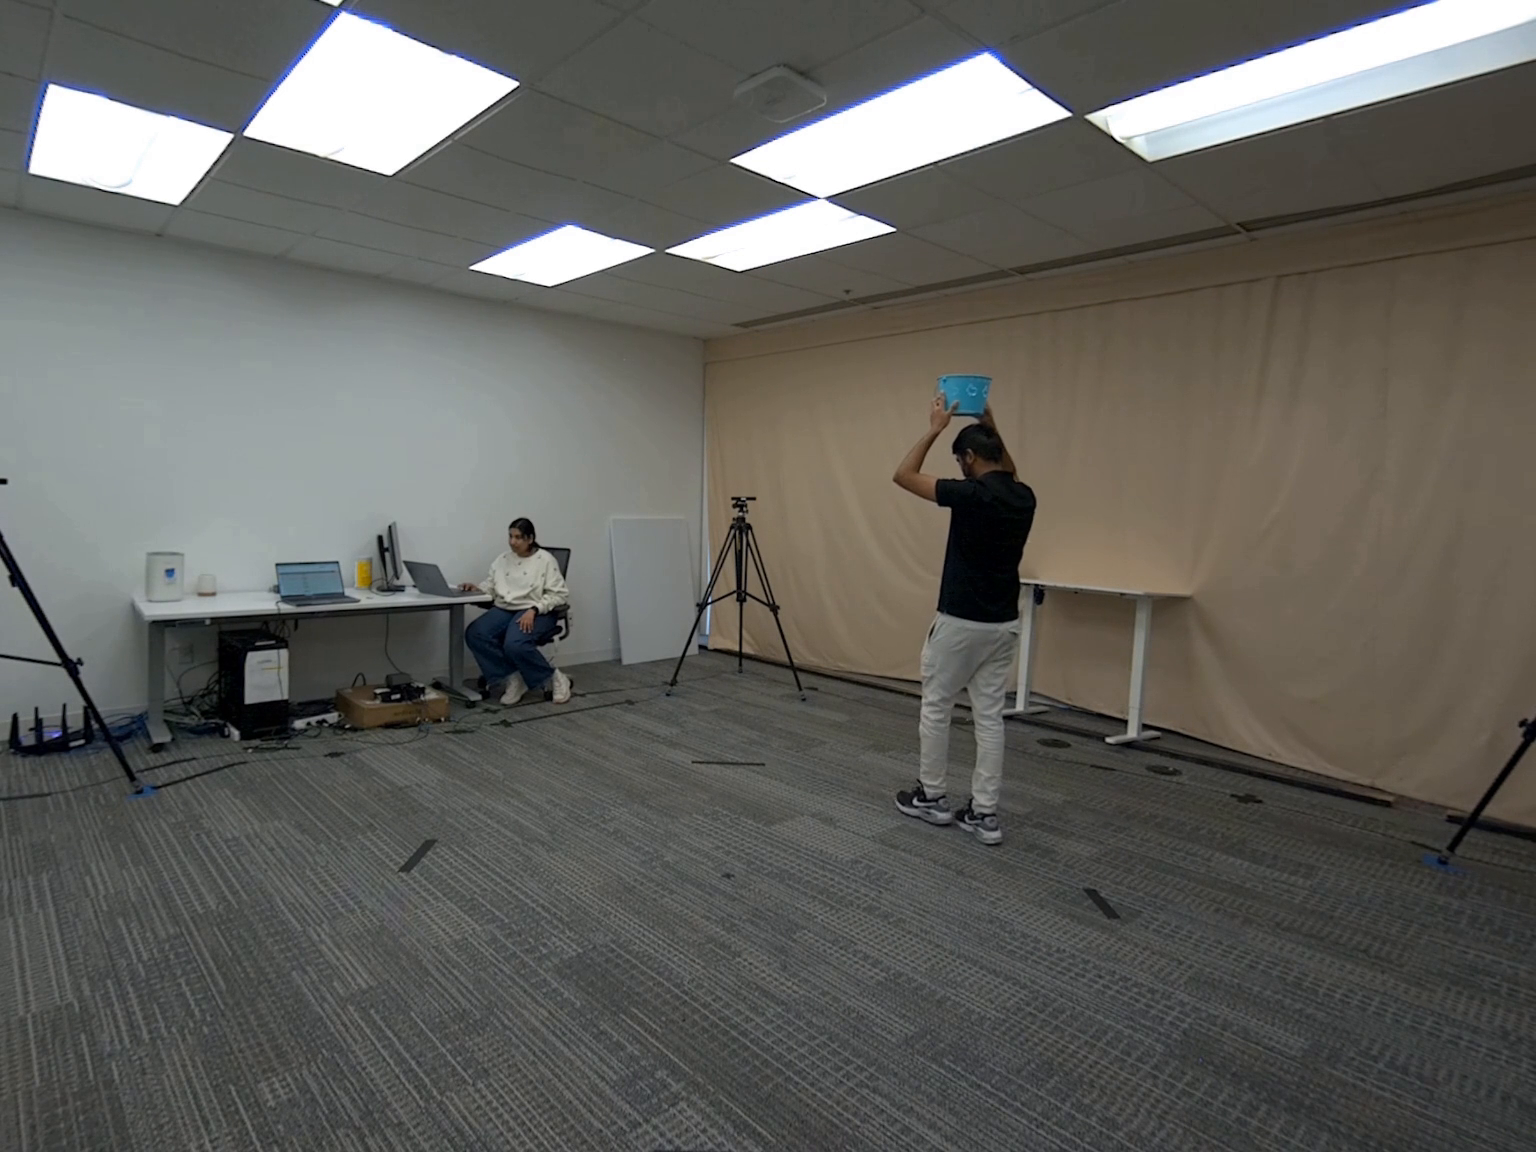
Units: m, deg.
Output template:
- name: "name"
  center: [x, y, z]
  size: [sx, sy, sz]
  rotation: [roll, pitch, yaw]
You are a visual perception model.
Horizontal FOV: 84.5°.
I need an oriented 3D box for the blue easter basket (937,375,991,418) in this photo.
- name: "blue easter basket"
  center: [0.853, -0.781, 3.653]
  size: [0.243, 0.155, 0.244]
  rotation: [5, 5, -2]
